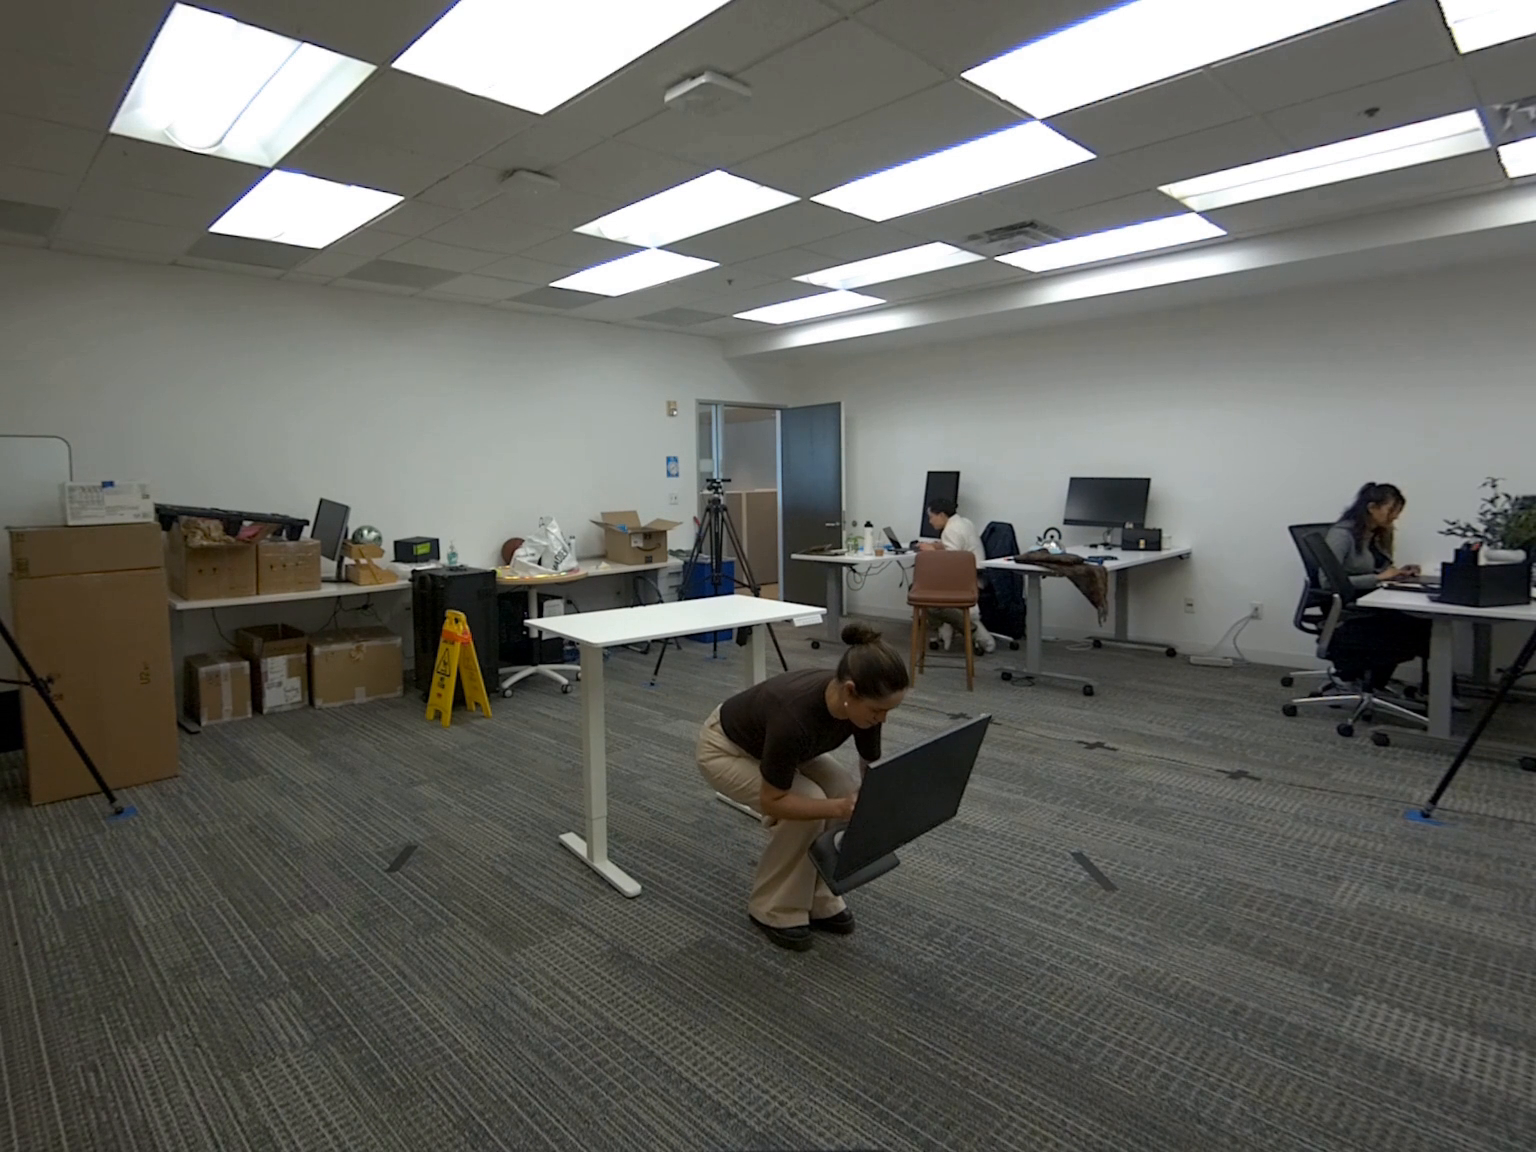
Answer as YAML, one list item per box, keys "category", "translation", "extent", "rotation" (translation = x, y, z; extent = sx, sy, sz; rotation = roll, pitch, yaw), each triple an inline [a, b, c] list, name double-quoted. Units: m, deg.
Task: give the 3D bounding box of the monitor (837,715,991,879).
- category: "monitor"
  translation: [0.332, 0.626, 2.326]
  extent: [0.527, 0.517, 0.193]
  rotation: [-13, 50, -45]
